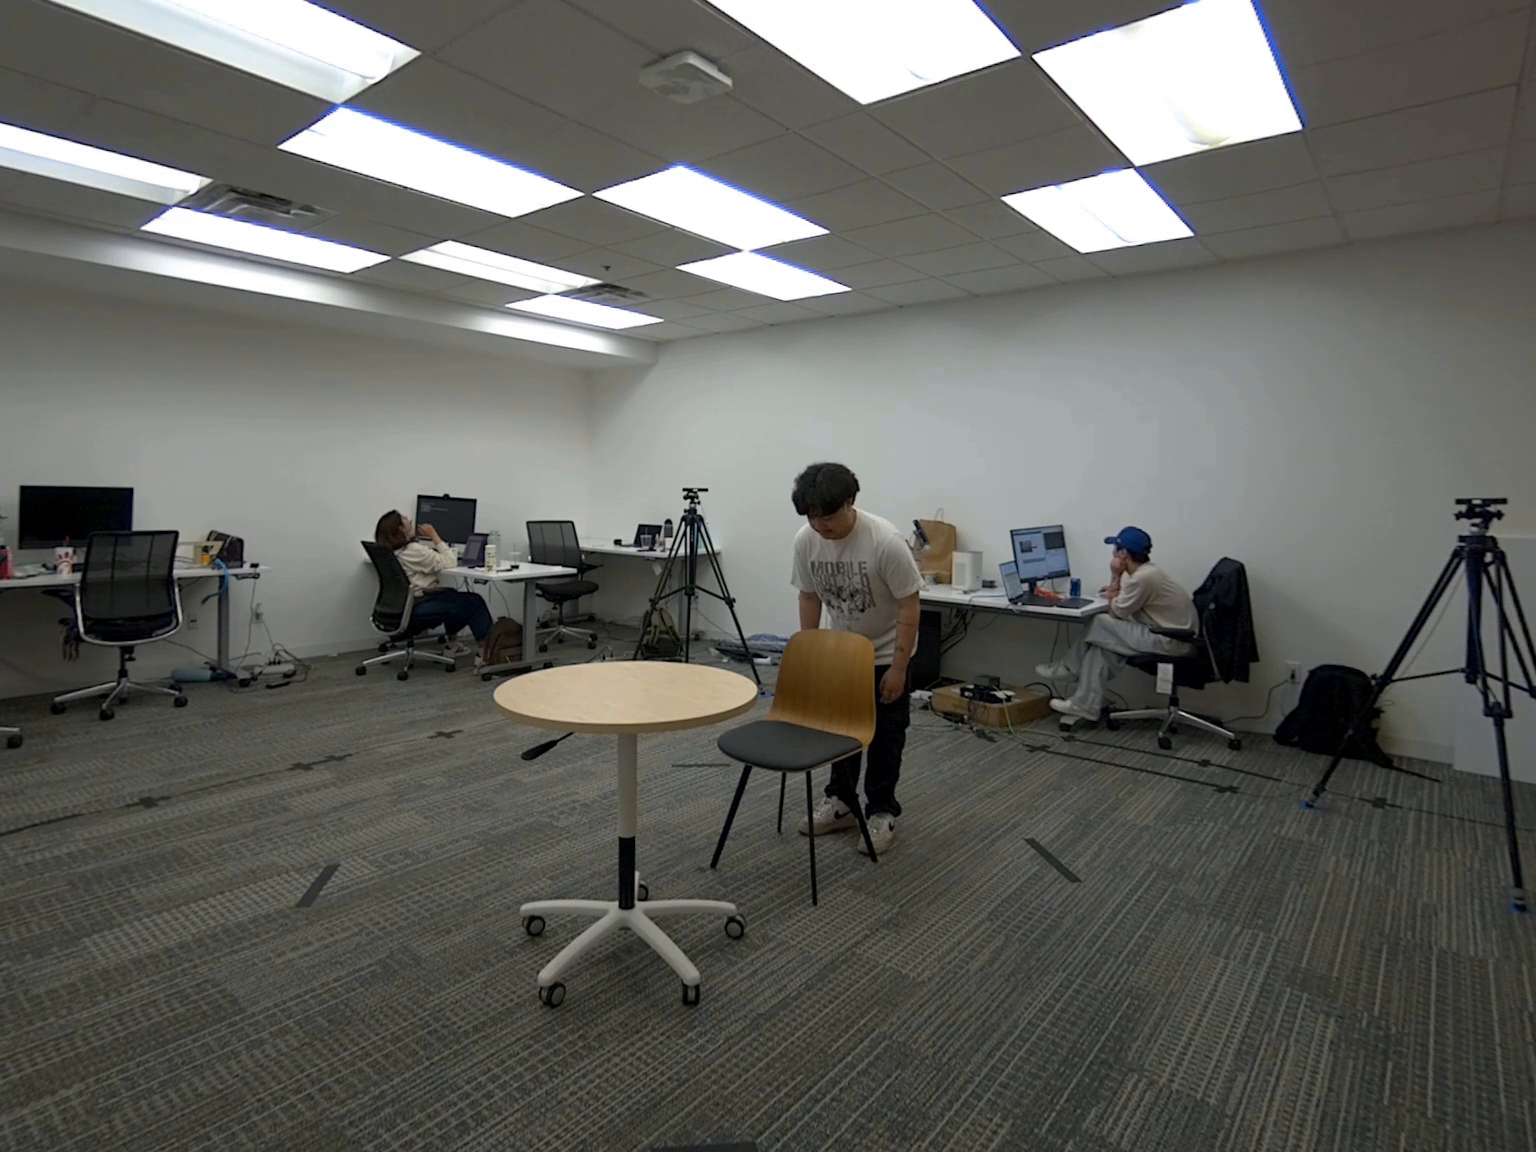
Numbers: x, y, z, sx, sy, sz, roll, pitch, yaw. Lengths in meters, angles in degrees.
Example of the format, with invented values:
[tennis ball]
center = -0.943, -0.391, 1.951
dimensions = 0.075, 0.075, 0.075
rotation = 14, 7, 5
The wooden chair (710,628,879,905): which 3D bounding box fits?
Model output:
[wooden chair]
center = 0.095, 0.645, 3.127
dimensions = 0.494, 0.878, 0.506
rotation = 4, 0, 36
